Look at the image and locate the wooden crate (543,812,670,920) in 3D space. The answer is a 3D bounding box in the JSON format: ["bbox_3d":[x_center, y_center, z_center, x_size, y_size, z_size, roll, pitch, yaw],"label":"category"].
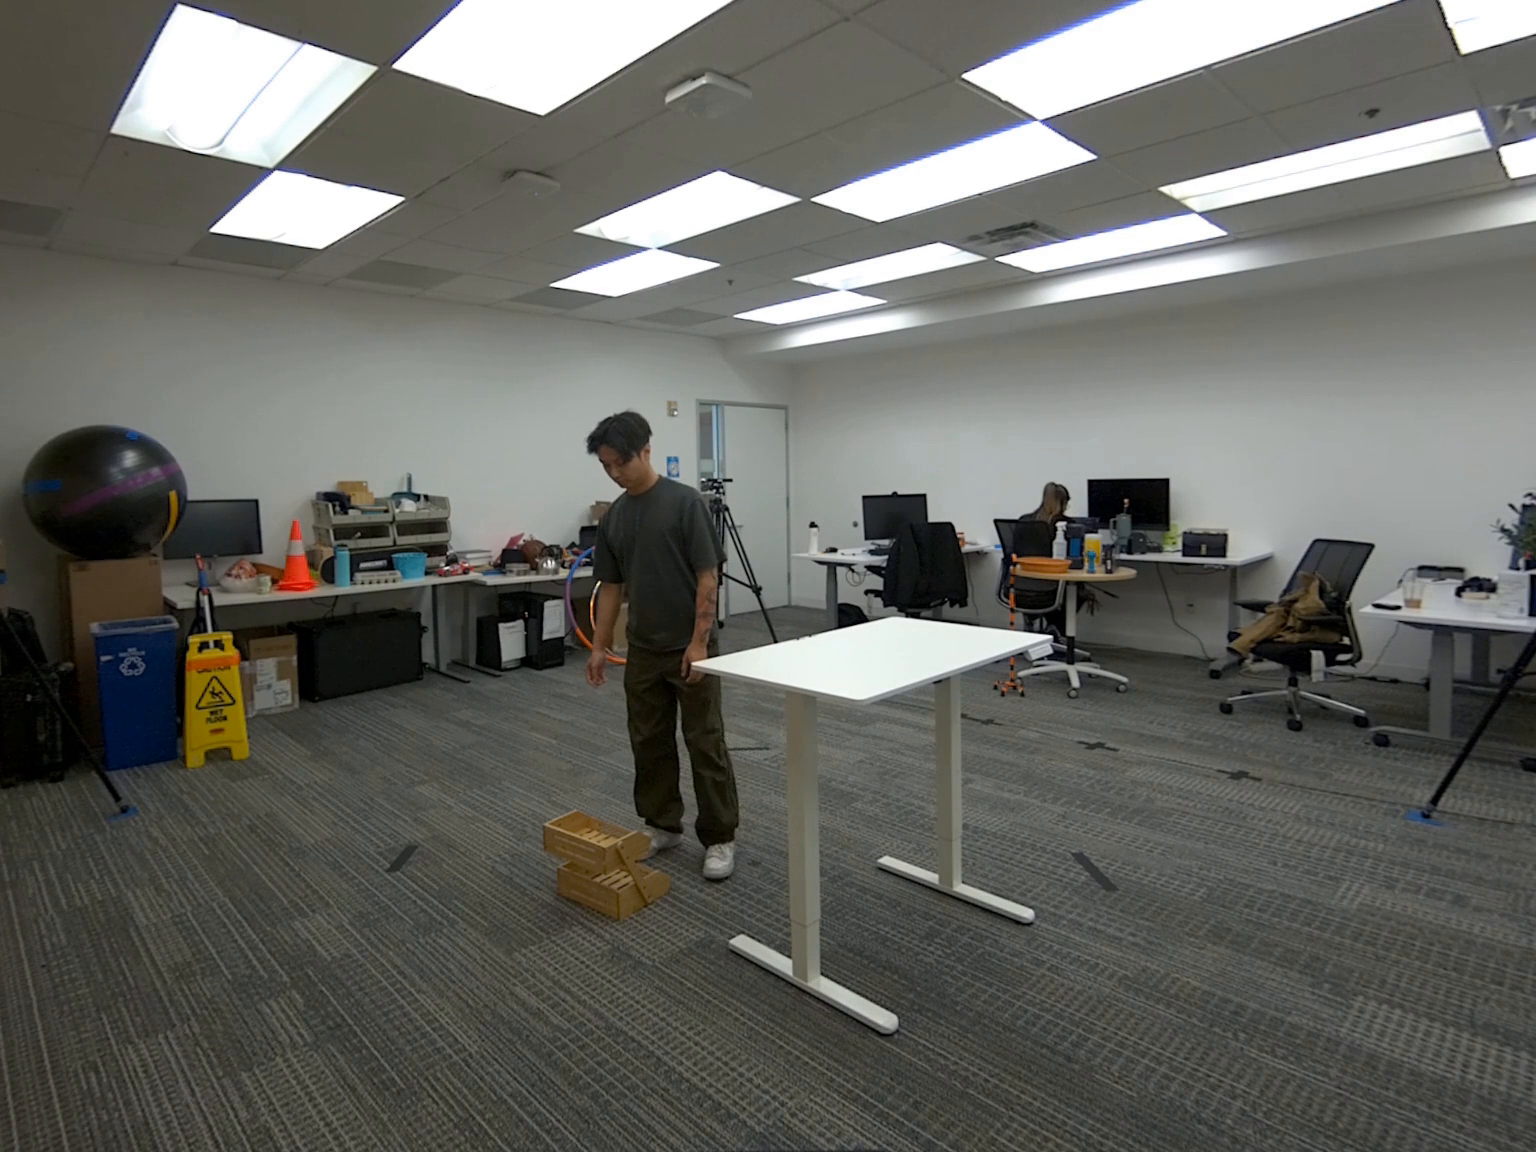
[{"bbox_3d":[-0.534,0.942,2.884,0.334,0.272,0.295,3,7,37],"label":"wooden crate"}]
